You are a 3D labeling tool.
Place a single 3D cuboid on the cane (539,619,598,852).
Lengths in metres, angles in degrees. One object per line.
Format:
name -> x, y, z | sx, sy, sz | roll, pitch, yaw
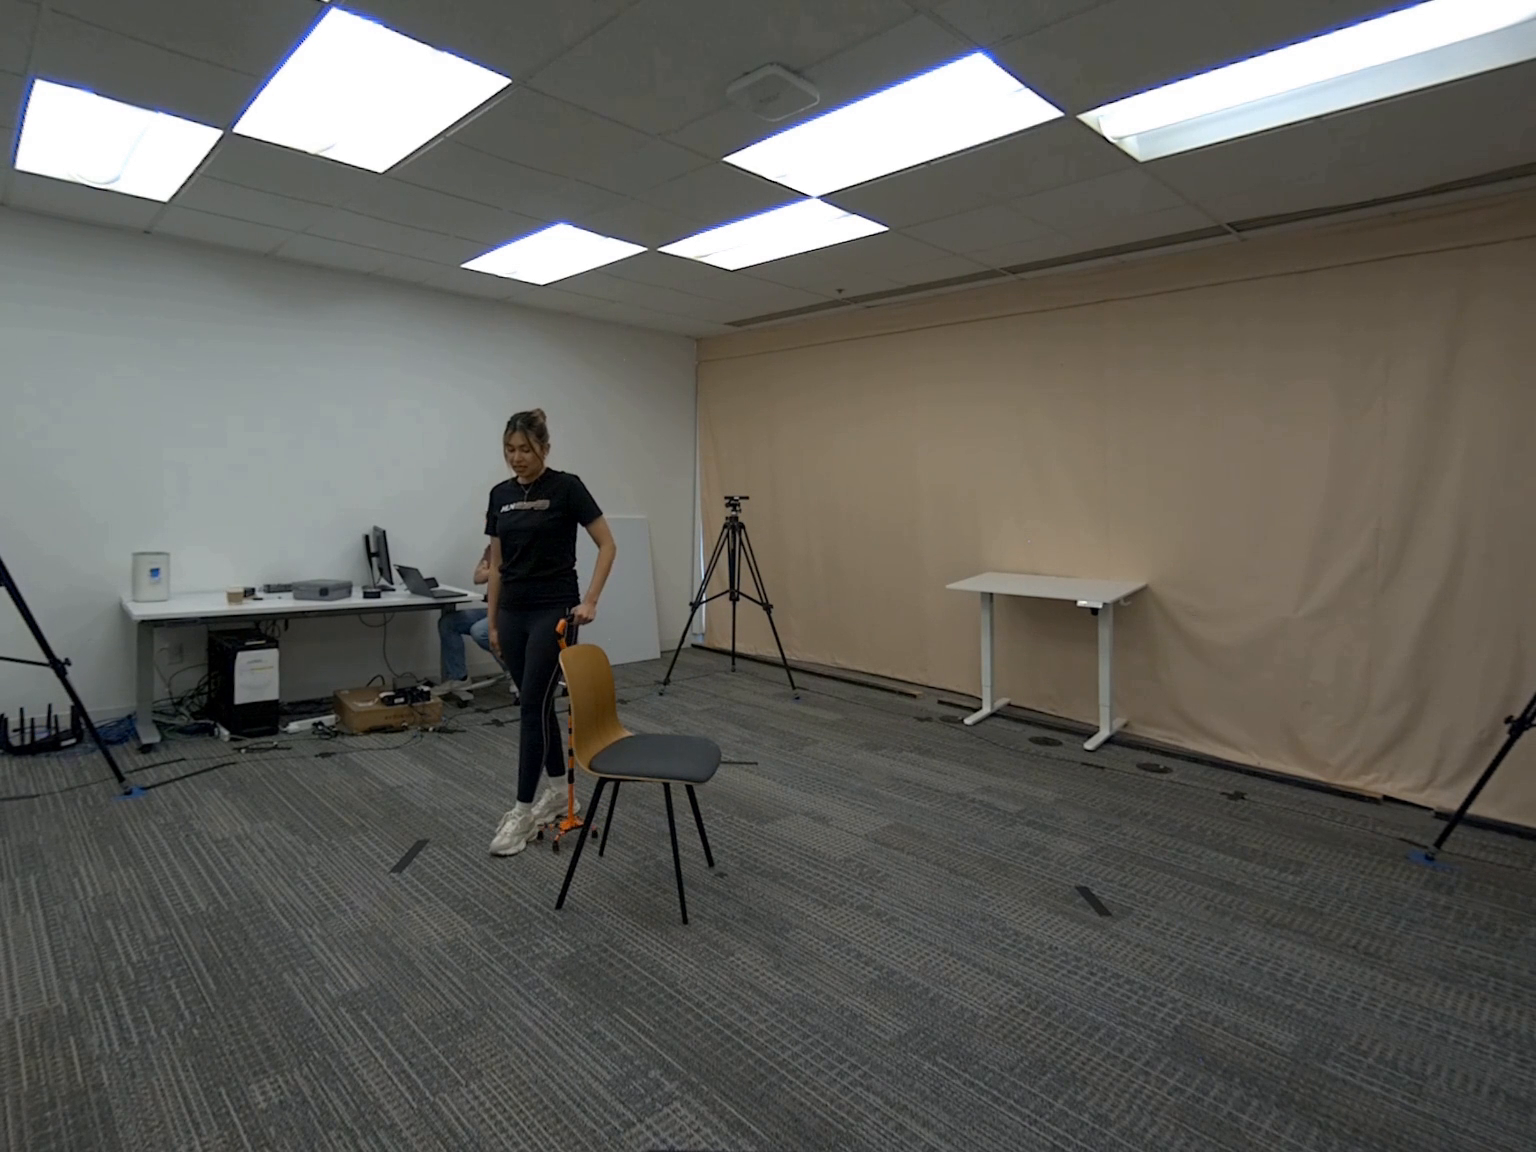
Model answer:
cane -> -0.792, 0.599, 3.305 | 0.202, 0.904, 0.156 | -3, 8, -41
